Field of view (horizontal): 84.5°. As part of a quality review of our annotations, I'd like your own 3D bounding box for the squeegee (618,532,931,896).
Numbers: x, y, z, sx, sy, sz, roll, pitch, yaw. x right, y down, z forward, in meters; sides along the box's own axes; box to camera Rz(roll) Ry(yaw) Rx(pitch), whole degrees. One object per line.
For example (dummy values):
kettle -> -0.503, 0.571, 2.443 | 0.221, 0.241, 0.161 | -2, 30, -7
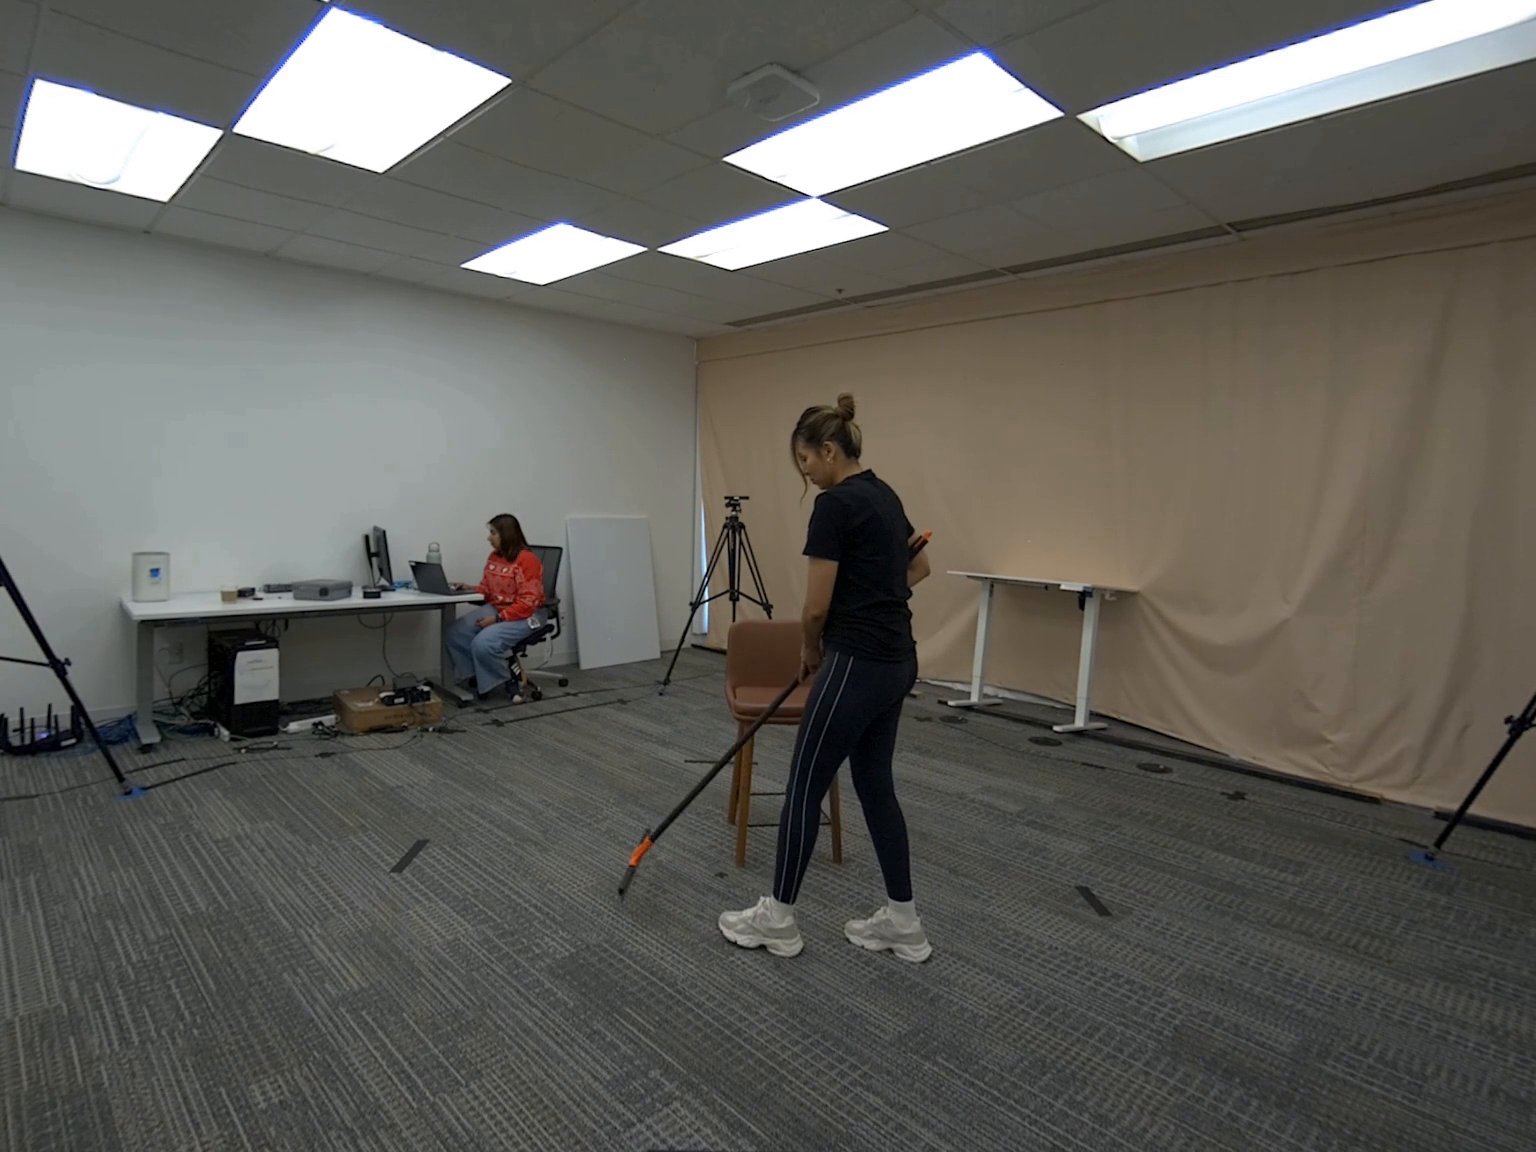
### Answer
squeegee -> -0.003, 0.440, 2.805 | 0.053, 1.537, 0.438 | 41, 9, -4
